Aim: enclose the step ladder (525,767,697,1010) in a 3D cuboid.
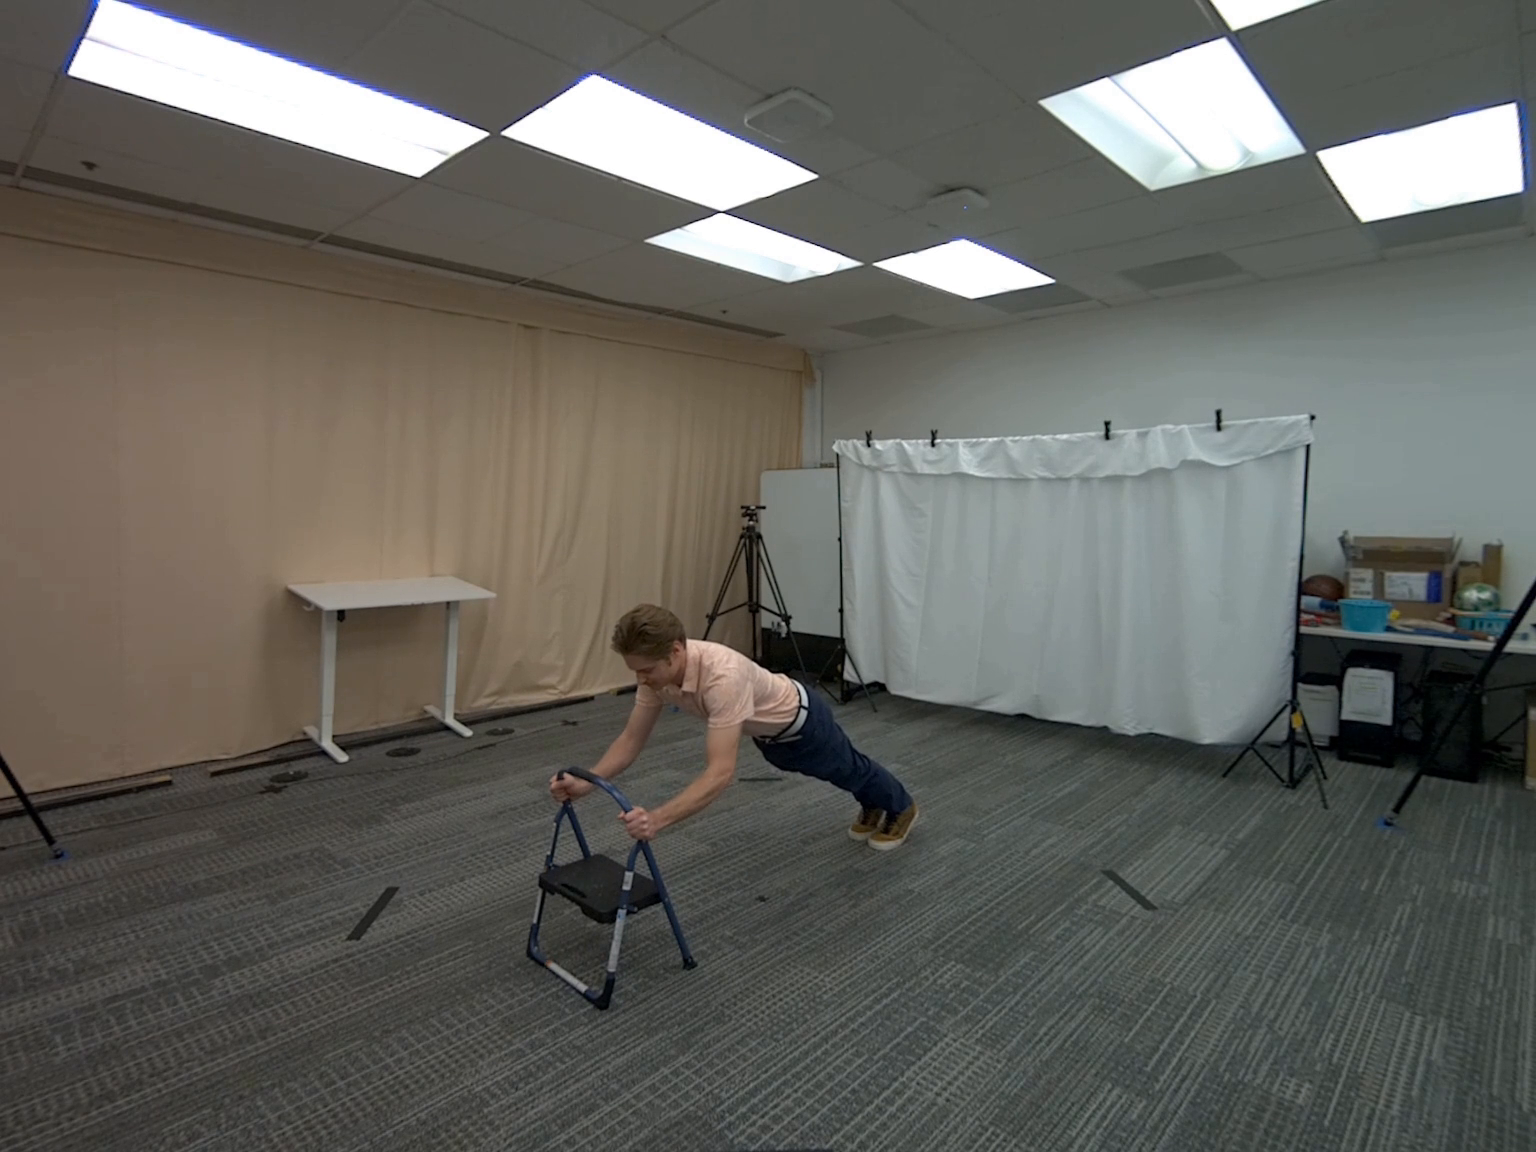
[{"bbox_3d":[-0.486,0.883,2.567,0.445,0.605,0.338,3,5,44],"label":"step ladder"}]
